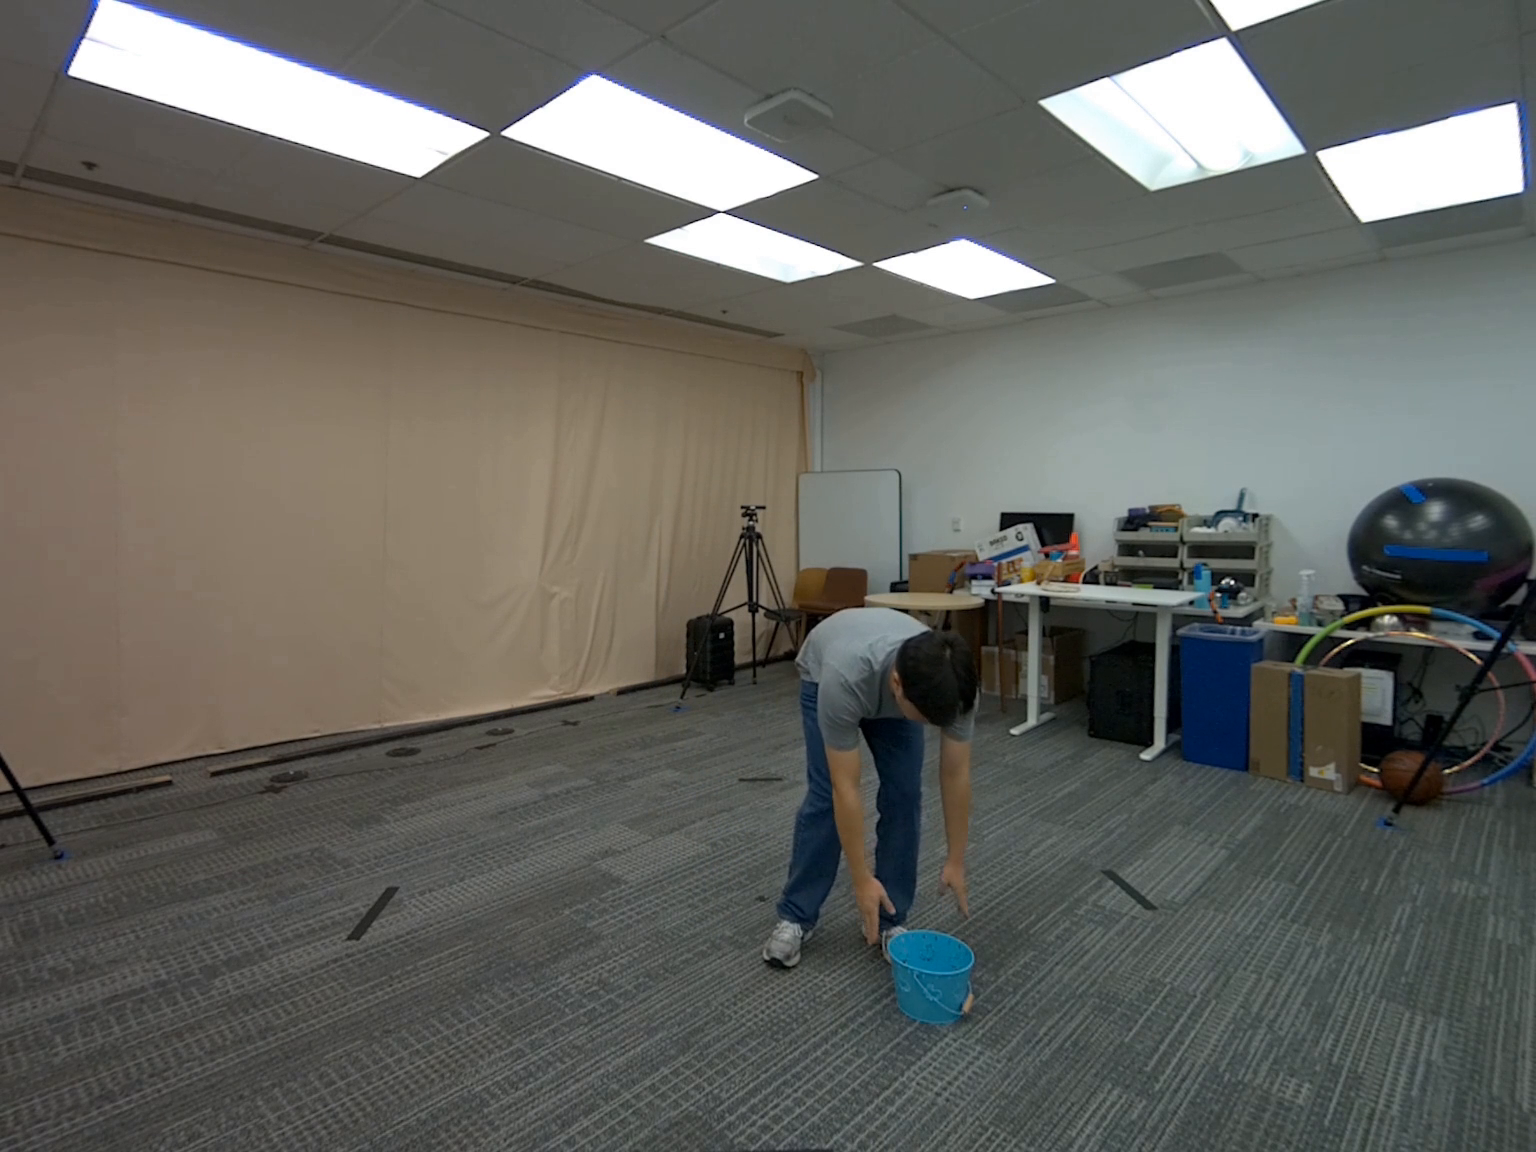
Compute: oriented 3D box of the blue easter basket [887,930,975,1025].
[{"bbox_3d":[0.453,1.113,2.349,0.243,0.155,0.244,0,4,-2],"label":"blue easter basket"}]
